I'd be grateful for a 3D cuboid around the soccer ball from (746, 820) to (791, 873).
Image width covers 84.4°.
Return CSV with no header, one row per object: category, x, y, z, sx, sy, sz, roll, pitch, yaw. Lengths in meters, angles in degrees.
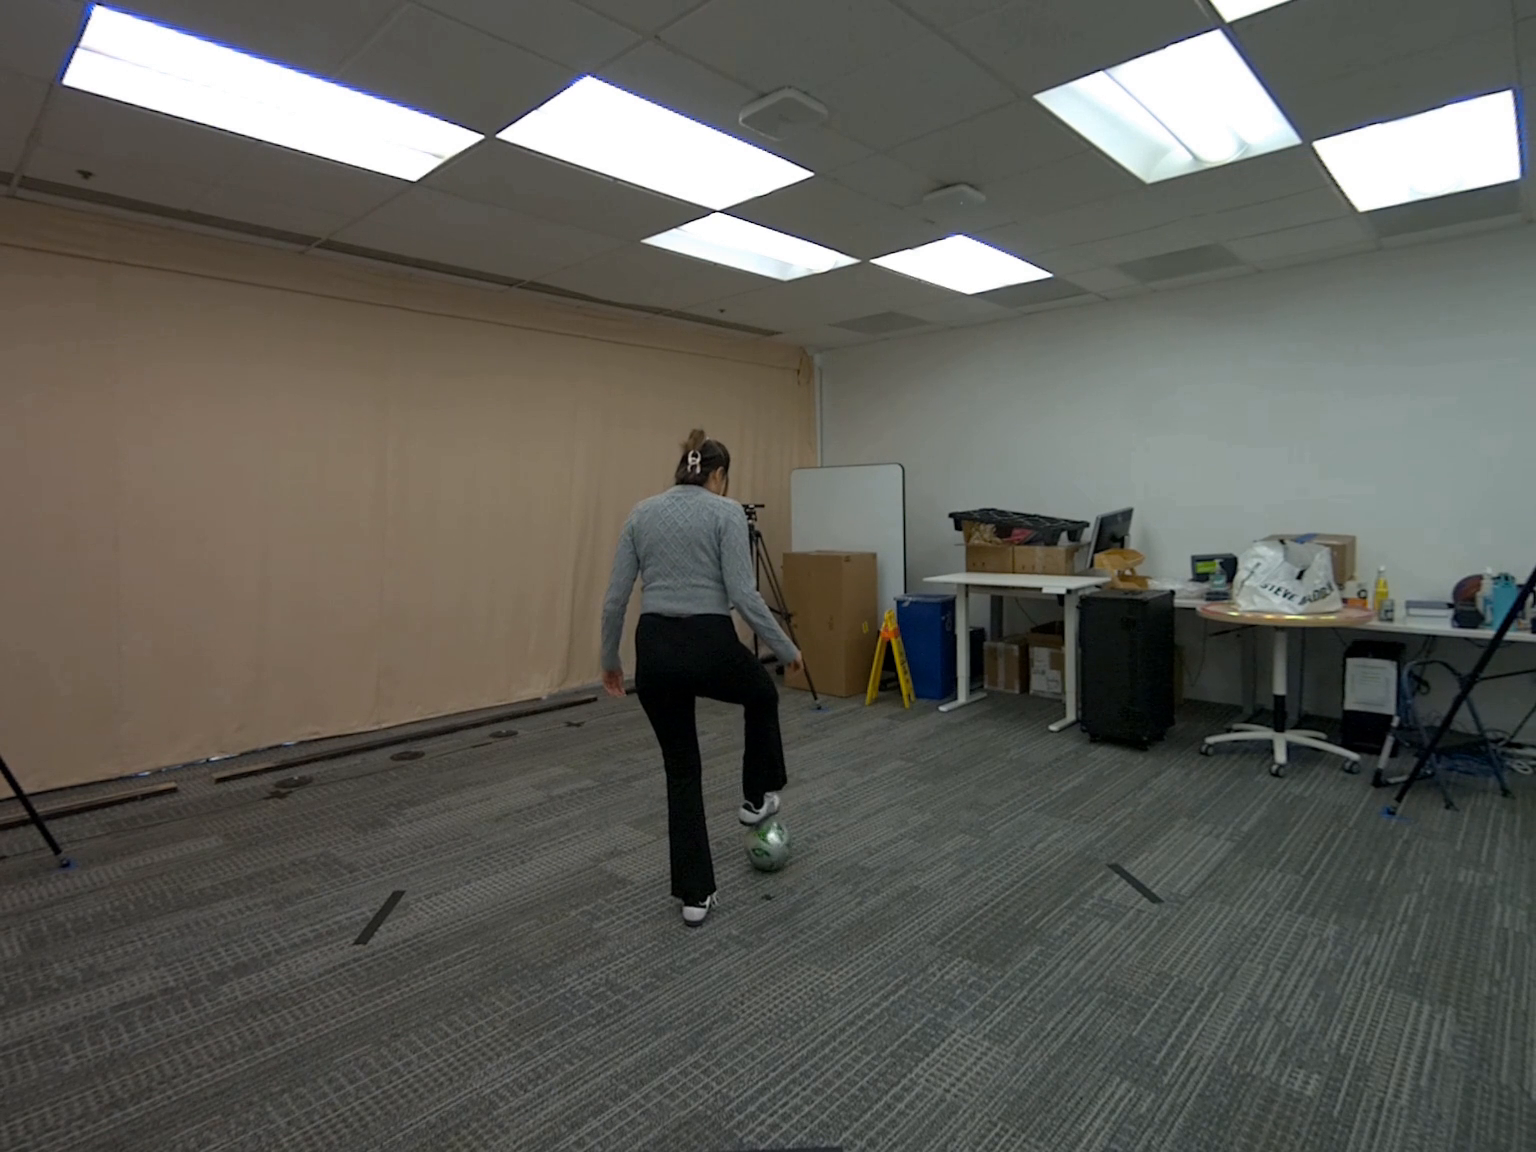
soccer ball,0.013,1.024,3.210,0.187,0.187,0.188,-1,4,-2
